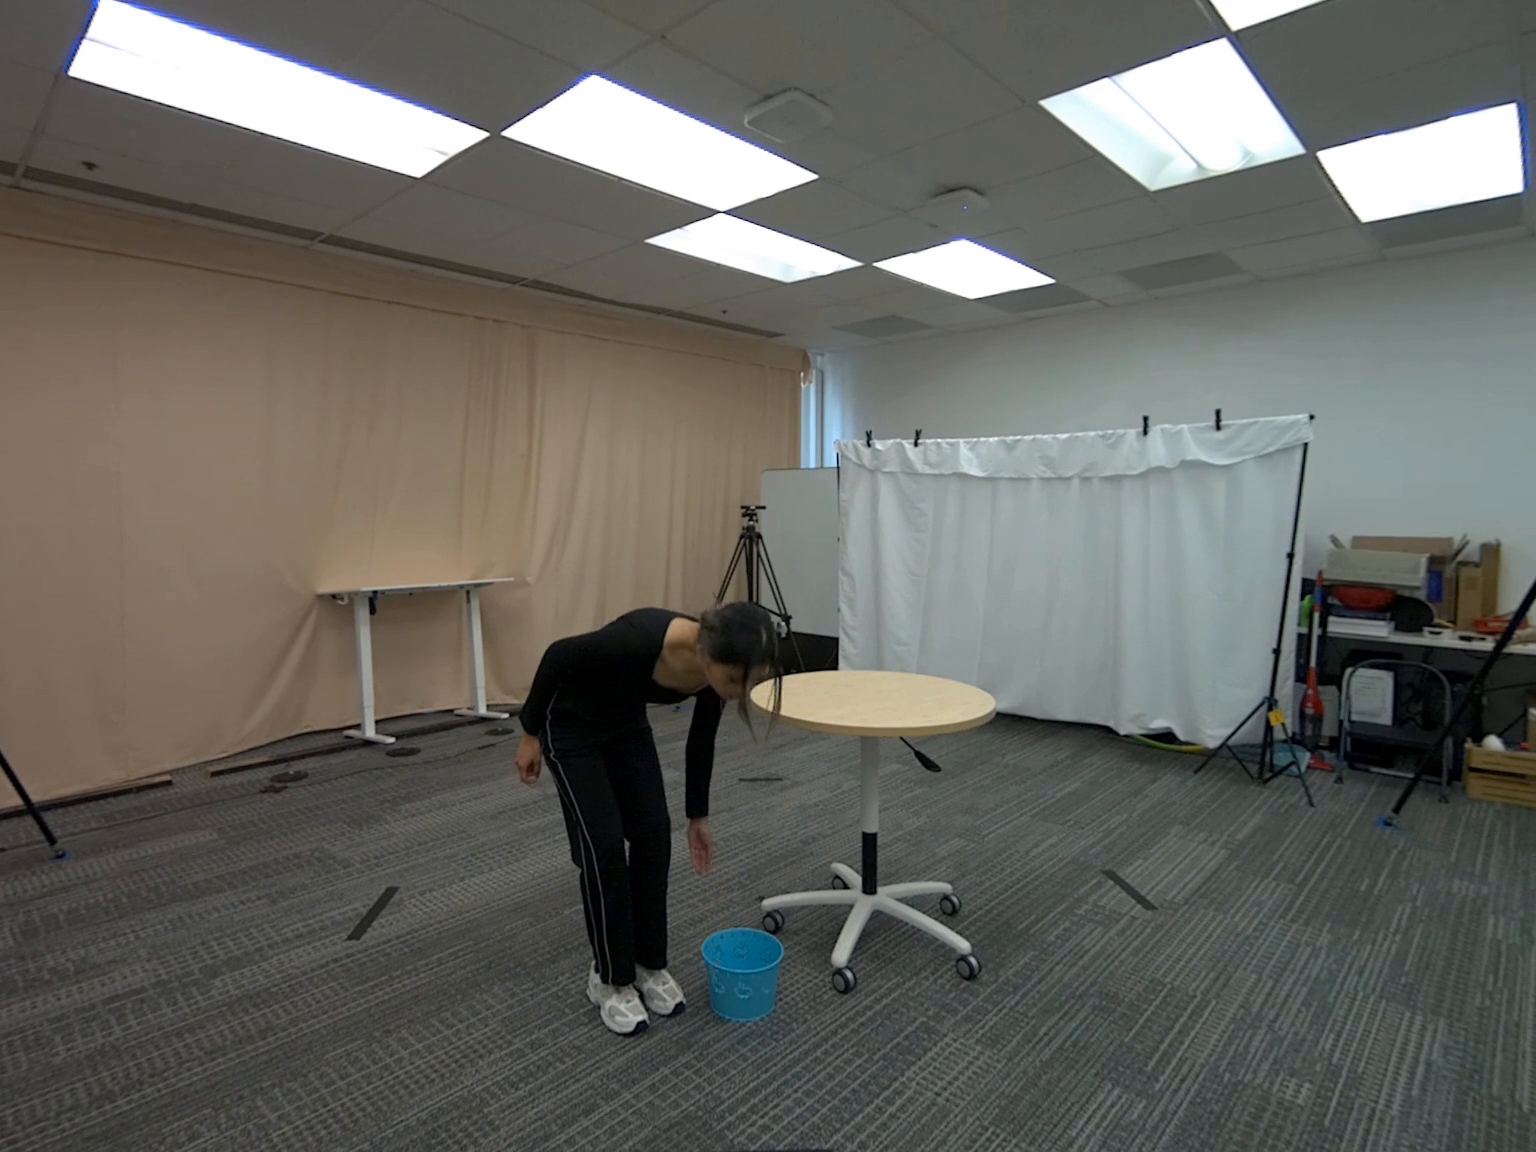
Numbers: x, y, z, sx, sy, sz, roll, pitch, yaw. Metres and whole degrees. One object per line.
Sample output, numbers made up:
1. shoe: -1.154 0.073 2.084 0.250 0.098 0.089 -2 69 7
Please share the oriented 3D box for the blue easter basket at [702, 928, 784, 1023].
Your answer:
1. blue easter basket: -0.070 1.124 2.357 0.243 0.155 0.244 0 4 -2
